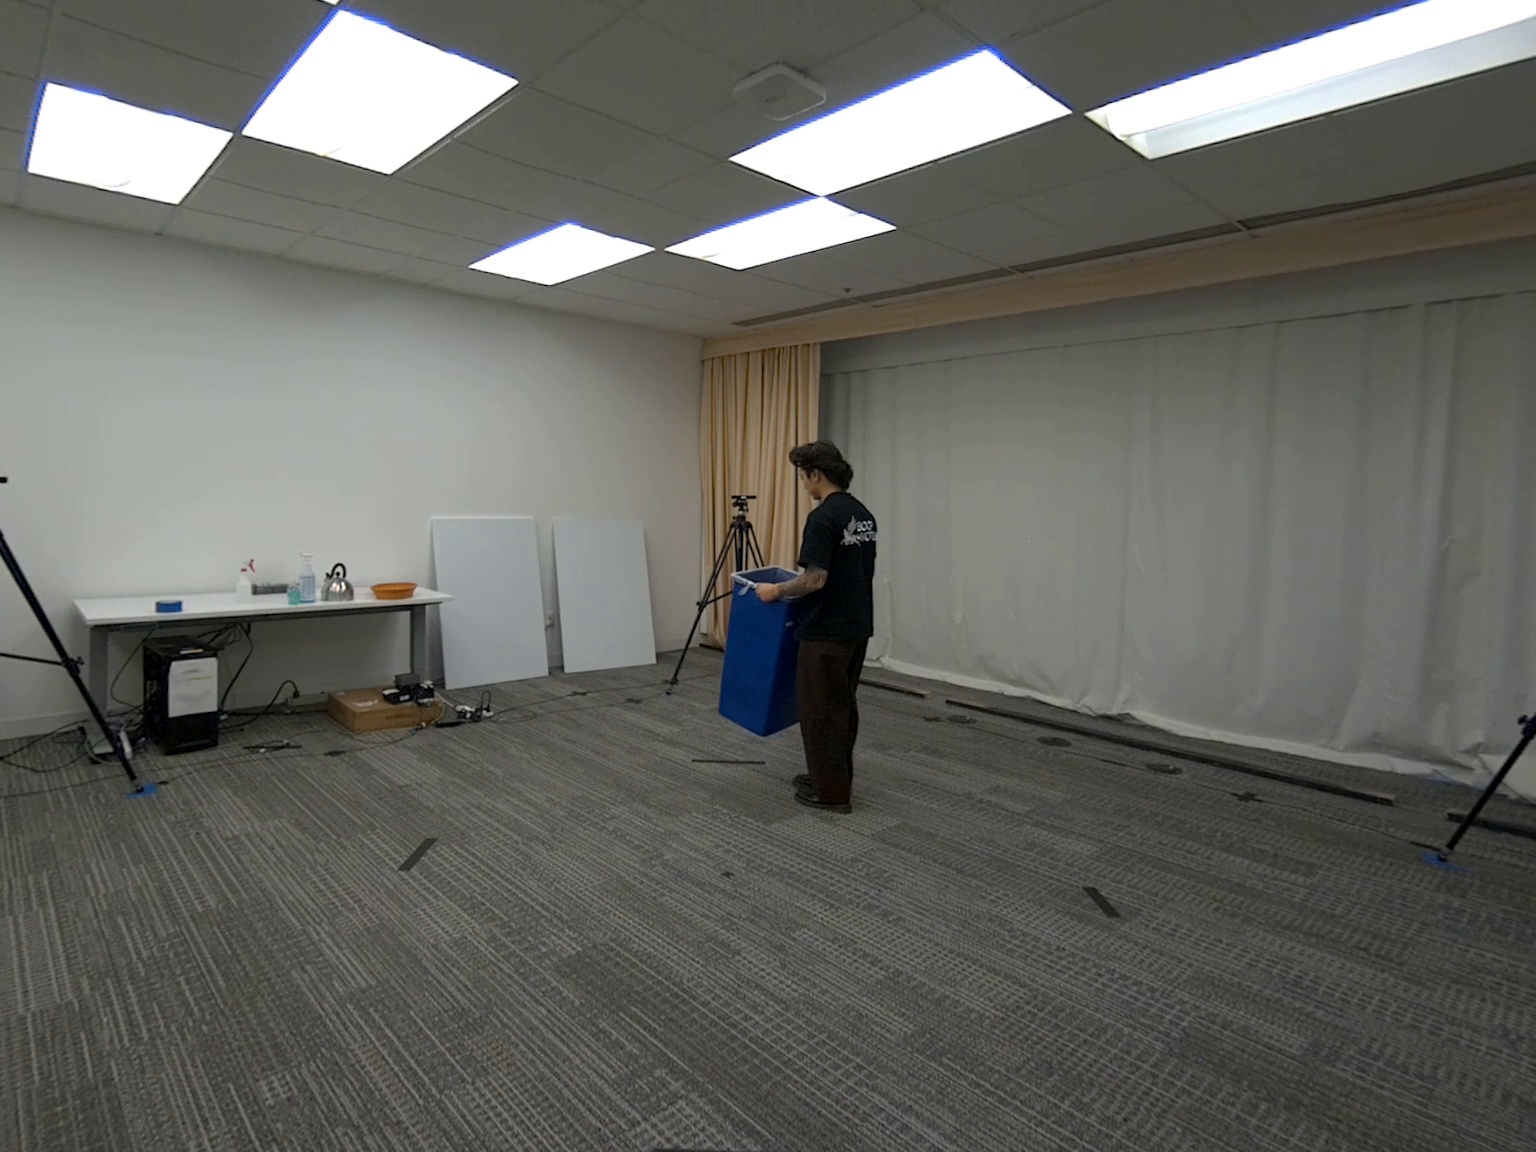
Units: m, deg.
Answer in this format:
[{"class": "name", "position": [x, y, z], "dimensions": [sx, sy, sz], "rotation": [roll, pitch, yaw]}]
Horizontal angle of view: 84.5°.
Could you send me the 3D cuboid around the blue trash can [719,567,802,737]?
[{"class": "blue trash can", "position": [0.005, 0.360, 4.052], "dimensions": [0.389, 0.707, 0.367], "rotation": [20, 19, 37]}]
